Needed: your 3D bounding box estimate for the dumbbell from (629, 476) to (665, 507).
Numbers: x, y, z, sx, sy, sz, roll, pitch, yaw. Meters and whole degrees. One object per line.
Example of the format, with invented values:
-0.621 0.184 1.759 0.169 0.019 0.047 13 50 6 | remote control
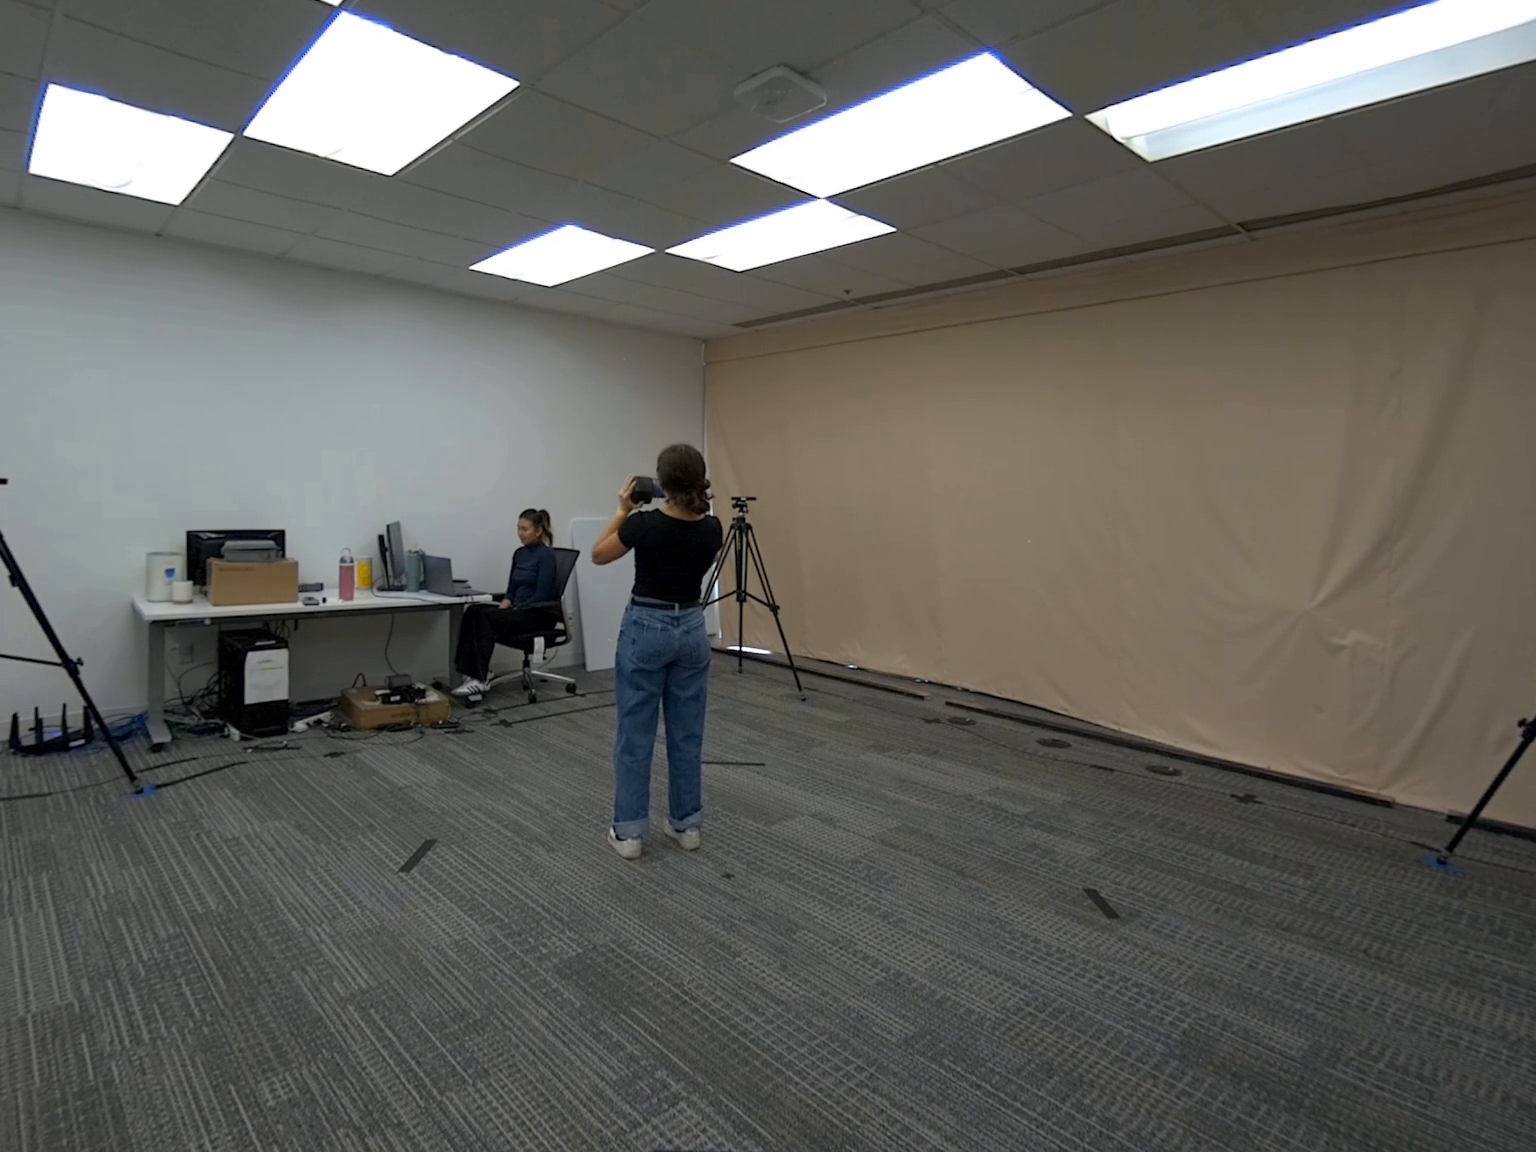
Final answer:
-0.411 -0.349 3.364 0.288 0.125 0.109 0 -21 -23 | dumbbell
